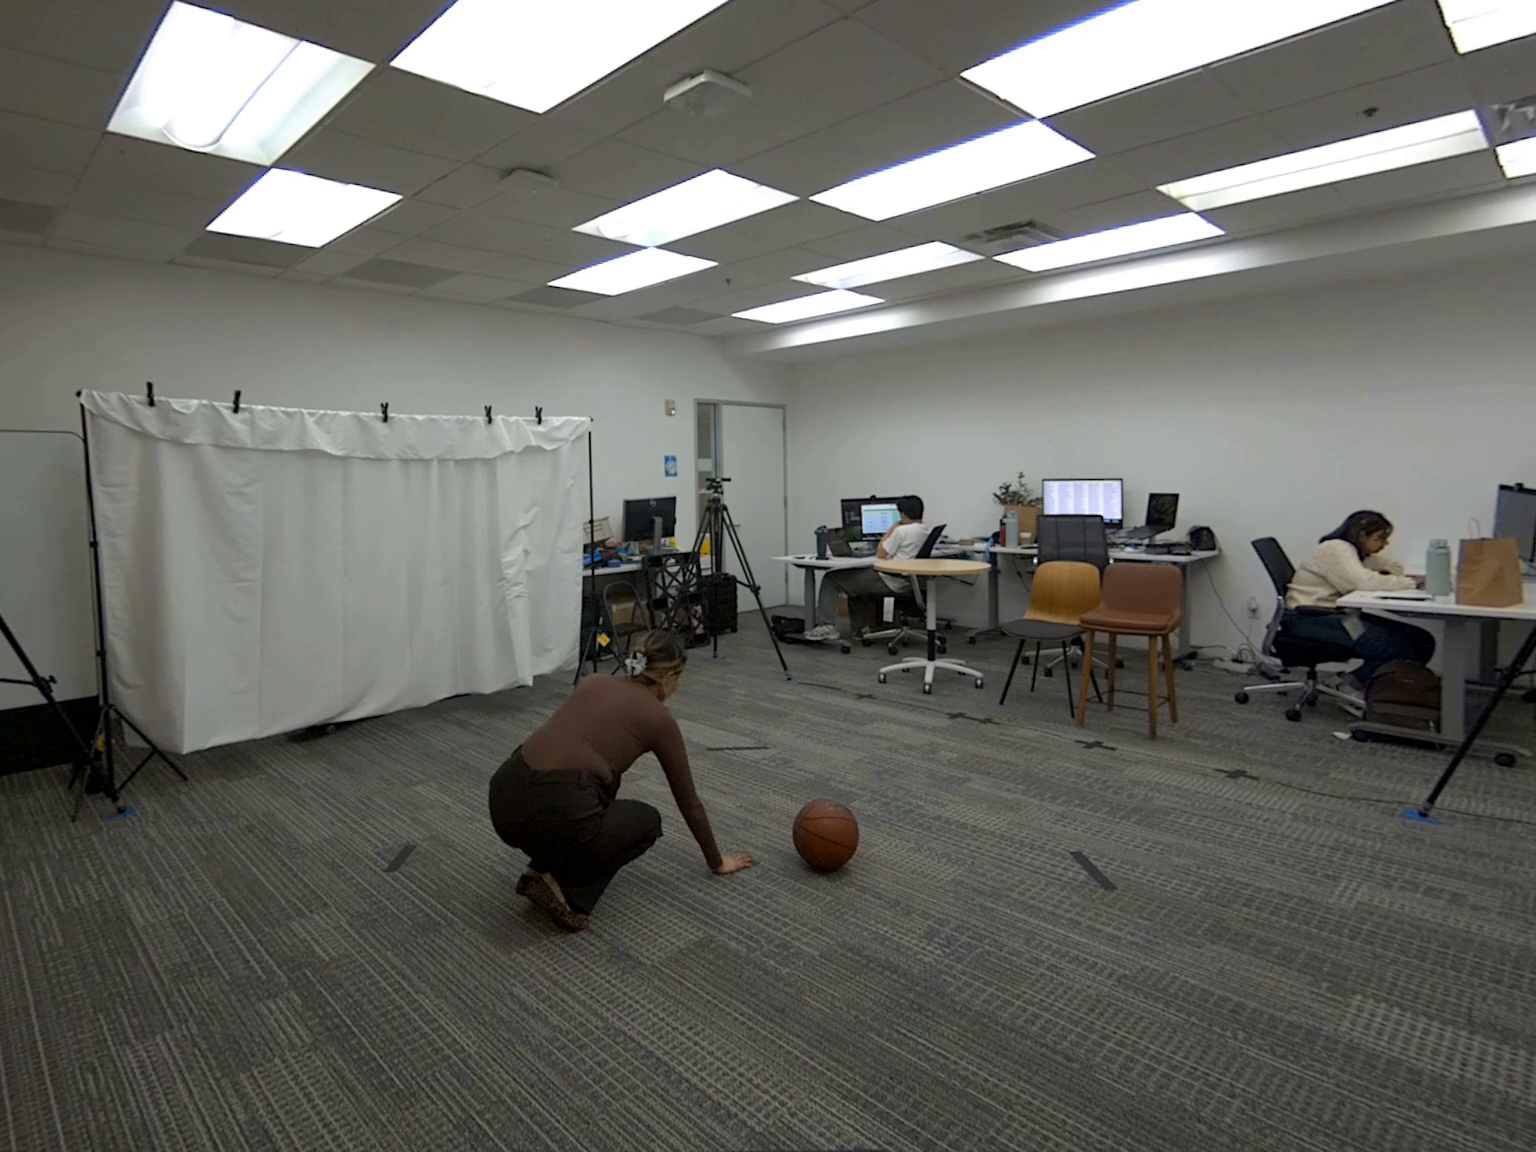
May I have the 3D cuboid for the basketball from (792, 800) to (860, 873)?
[{"bbox_3d":[0.206,0.917,3.065,0.236,0.235,0.237,-1,5,-2],"label":"basketball"}]
